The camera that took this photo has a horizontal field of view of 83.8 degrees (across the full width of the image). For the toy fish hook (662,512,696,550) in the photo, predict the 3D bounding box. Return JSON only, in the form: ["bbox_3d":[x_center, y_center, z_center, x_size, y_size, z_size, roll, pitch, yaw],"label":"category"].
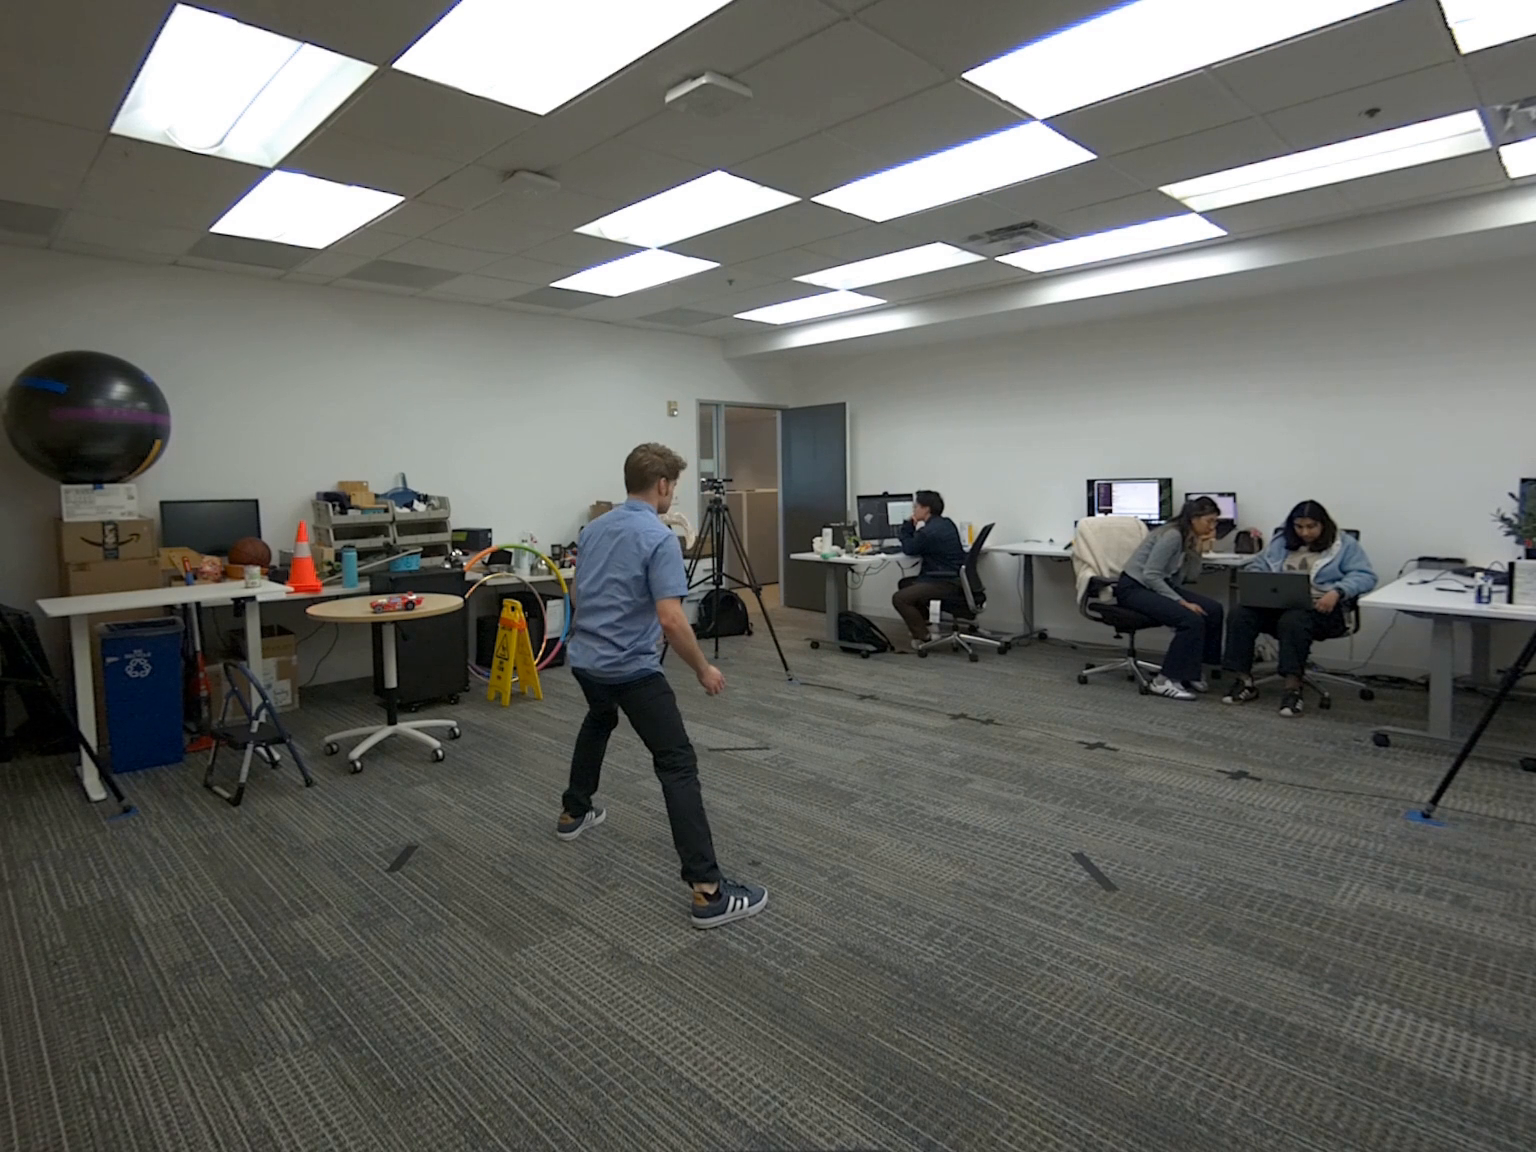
[{"bbox_3d":[-0.398,-0.061,3.549,0.225,0.519,0.047,-3,-32,4],"label":"toy fish hook"}]
